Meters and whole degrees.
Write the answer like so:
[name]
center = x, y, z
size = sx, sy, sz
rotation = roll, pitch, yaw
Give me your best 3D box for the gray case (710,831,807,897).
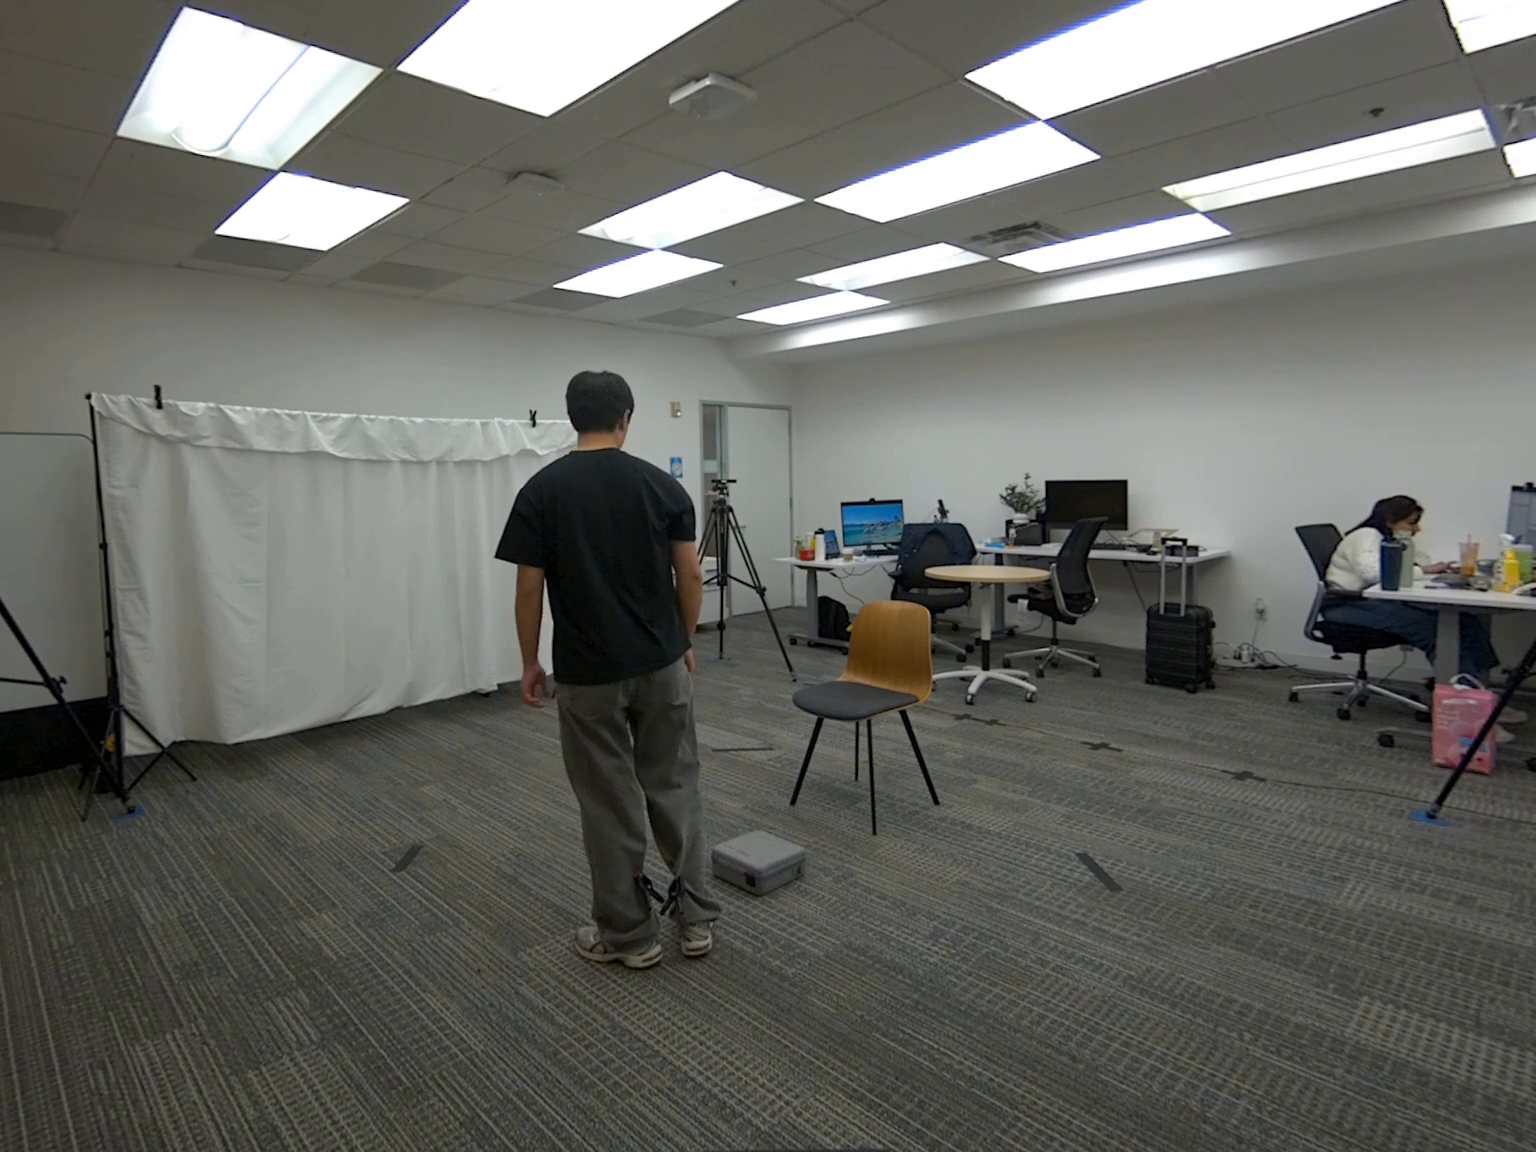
[gray case]
center = -0.026, 1.001, 3.024
size = 0.279, 0.103, 0.271
rotation = -5, 7, -44
